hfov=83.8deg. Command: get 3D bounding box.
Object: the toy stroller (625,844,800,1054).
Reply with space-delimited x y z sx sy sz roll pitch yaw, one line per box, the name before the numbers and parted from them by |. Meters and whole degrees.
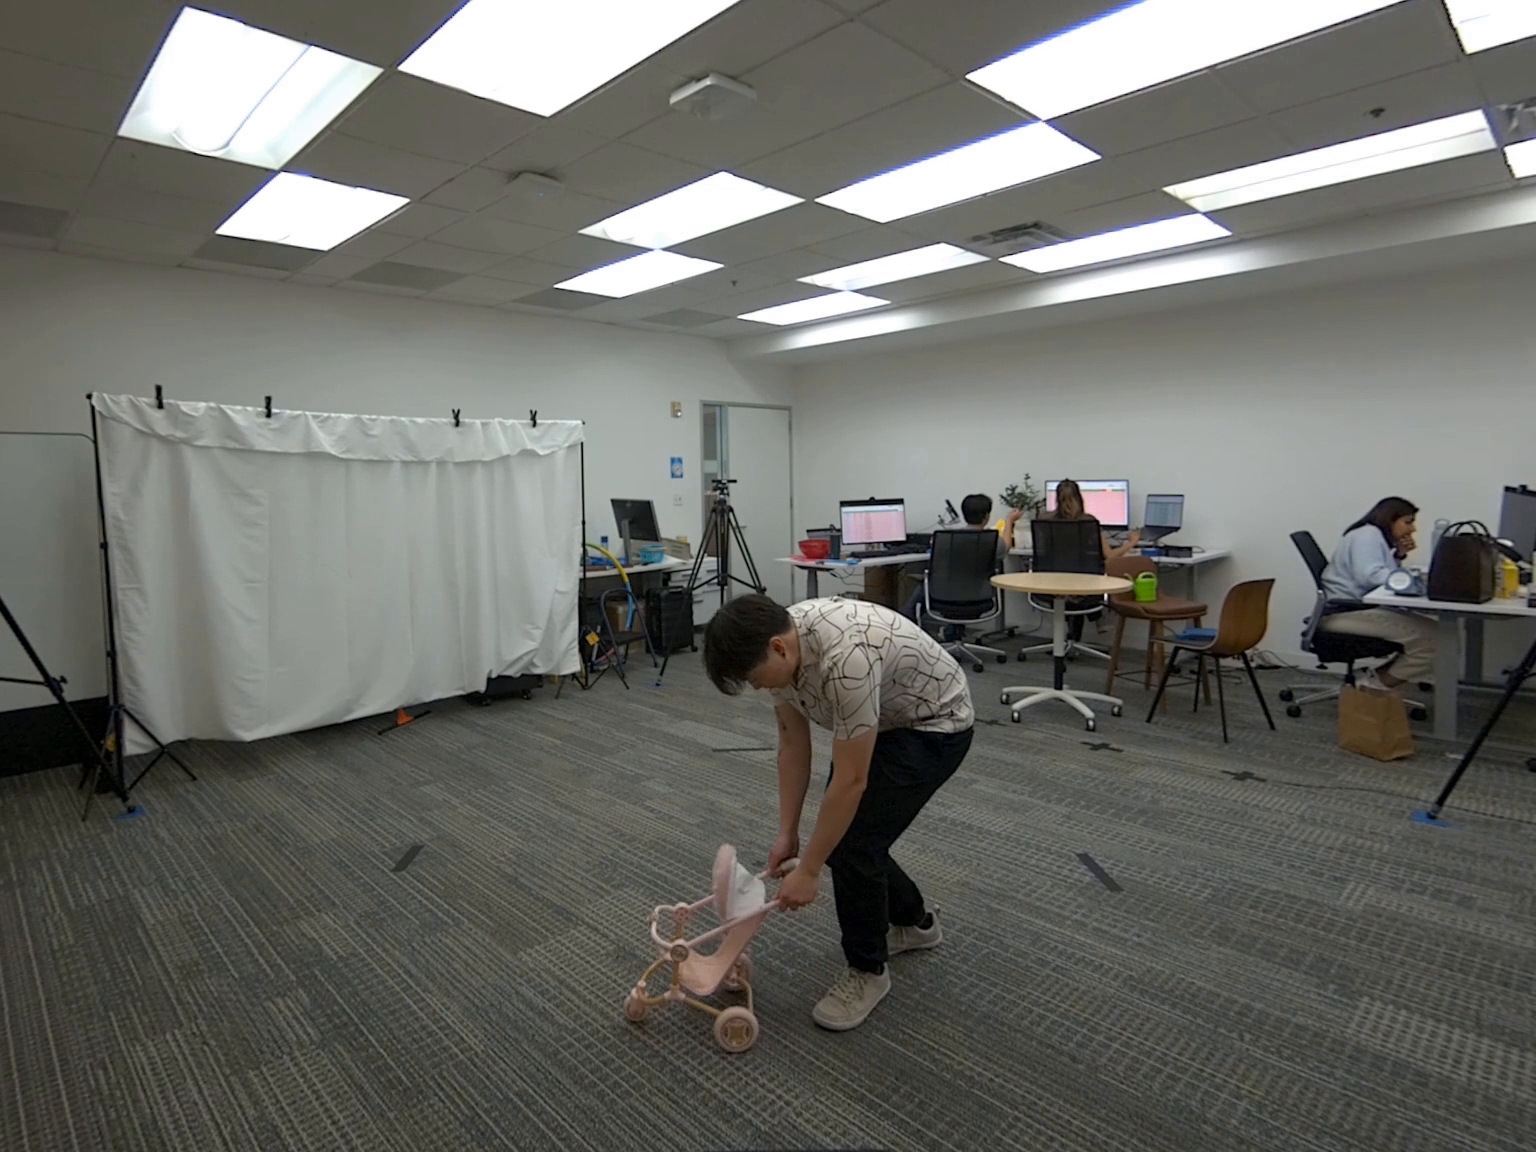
toy stroller | -0.134 0.941 2.208 0.342 0.534 0.281 19 4 1
